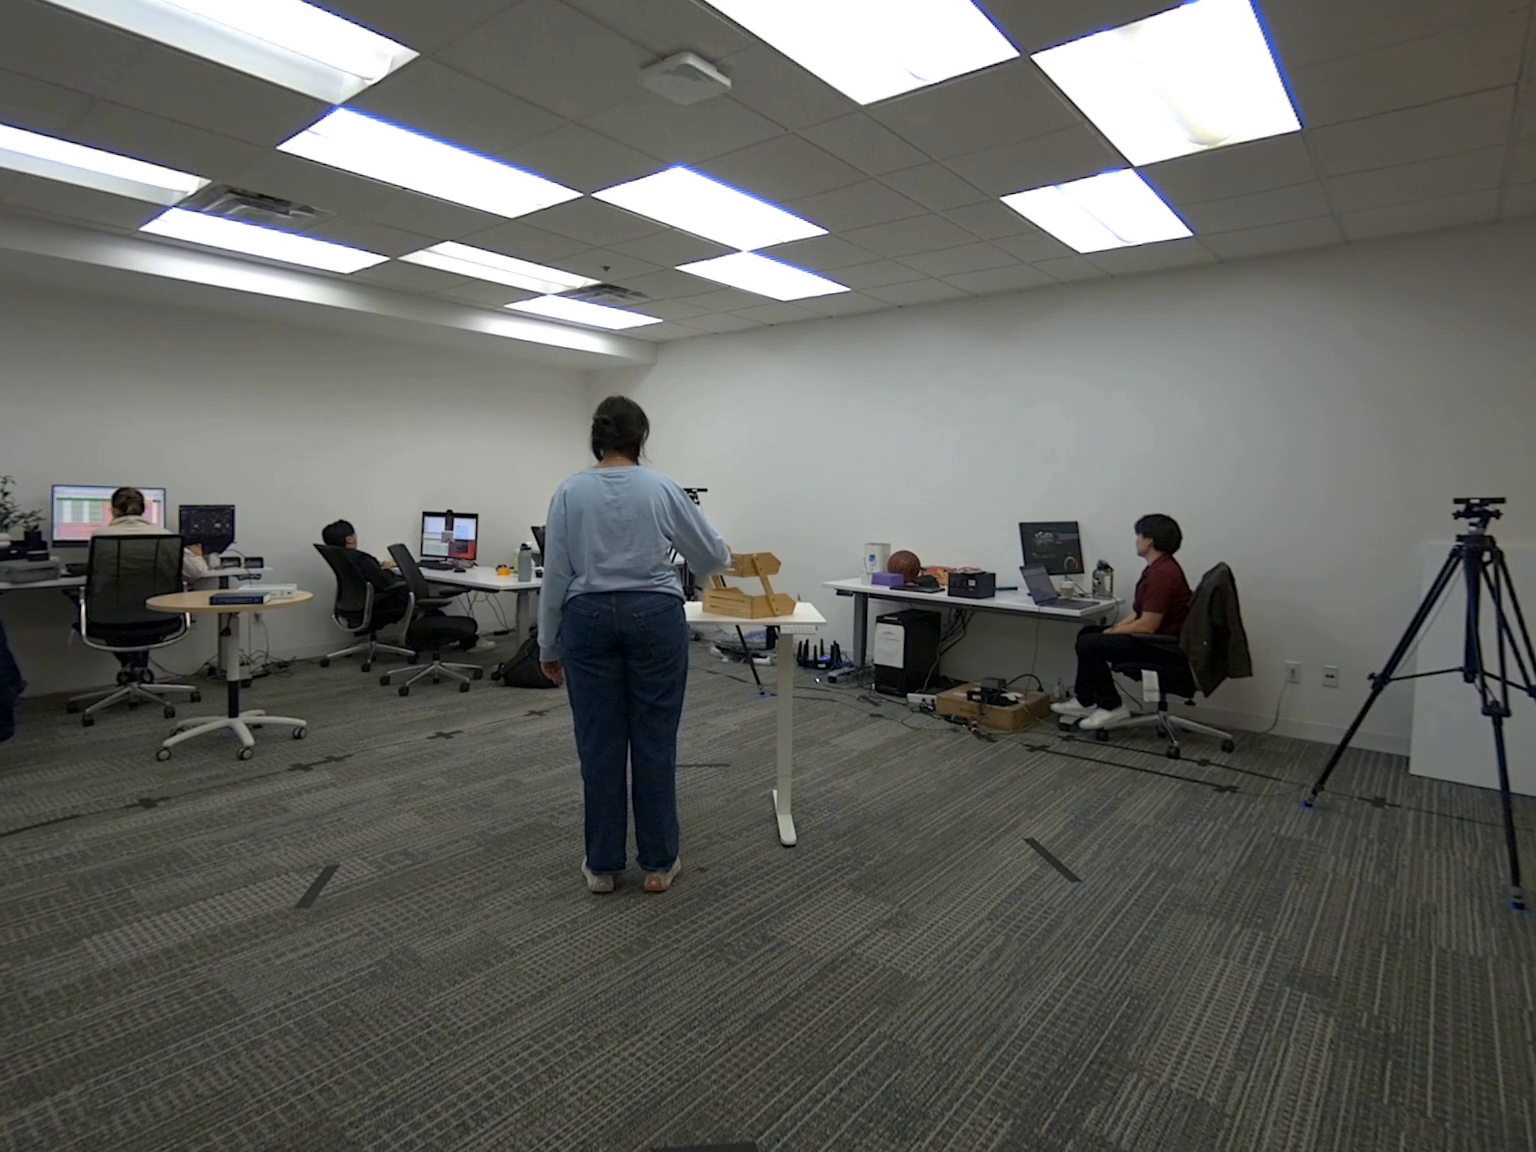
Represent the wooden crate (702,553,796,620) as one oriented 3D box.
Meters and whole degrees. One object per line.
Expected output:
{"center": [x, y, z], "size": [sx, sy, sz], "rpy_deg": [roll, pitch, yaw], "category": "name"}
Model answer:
{"center": [-0.102, 0.018, 3.495], "size": [0.293, 0.272, 0.335], "rpy_deg": [-4, 6, -44], "category": "wooden crate"}
